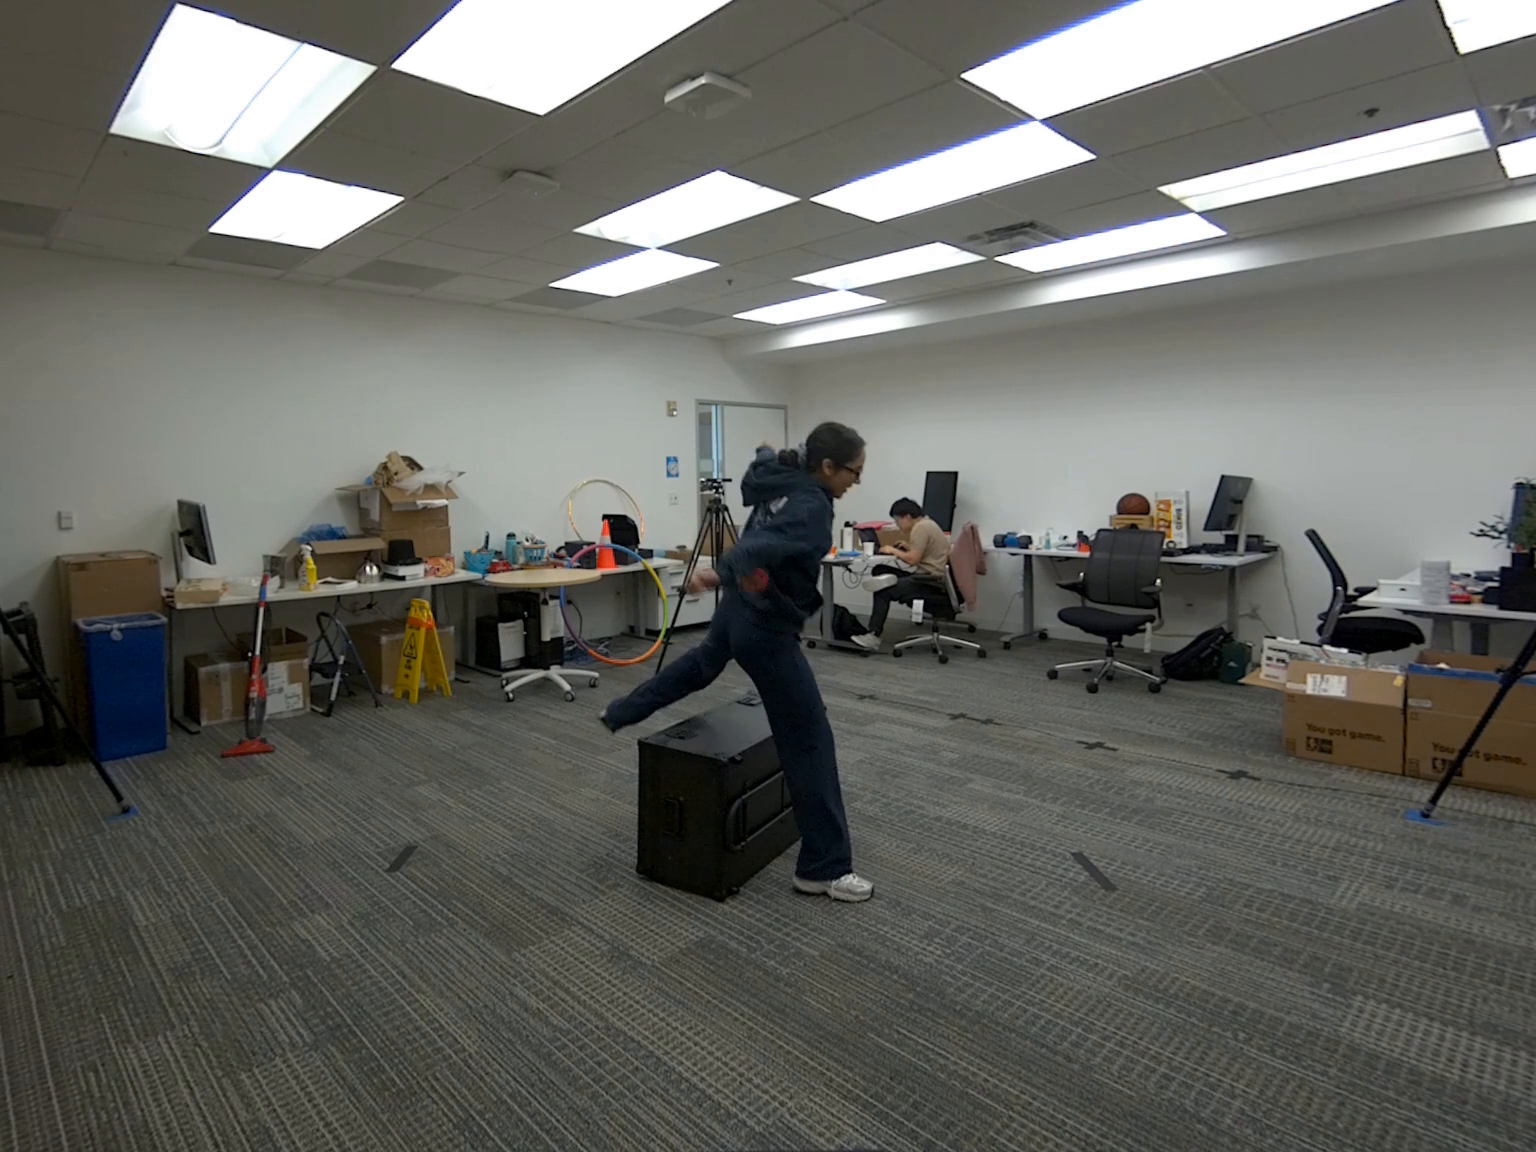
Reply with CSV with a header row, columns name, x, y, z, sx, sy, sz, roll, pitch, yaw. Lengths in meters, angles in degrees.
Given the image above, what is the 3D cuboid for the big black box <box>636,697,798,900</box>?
name,x,y,z,sx,sy,sz,roll,pitch,yaw
big black box,-0.086,0.774,3.238,0.407,0.518,0.843,5,8,29
